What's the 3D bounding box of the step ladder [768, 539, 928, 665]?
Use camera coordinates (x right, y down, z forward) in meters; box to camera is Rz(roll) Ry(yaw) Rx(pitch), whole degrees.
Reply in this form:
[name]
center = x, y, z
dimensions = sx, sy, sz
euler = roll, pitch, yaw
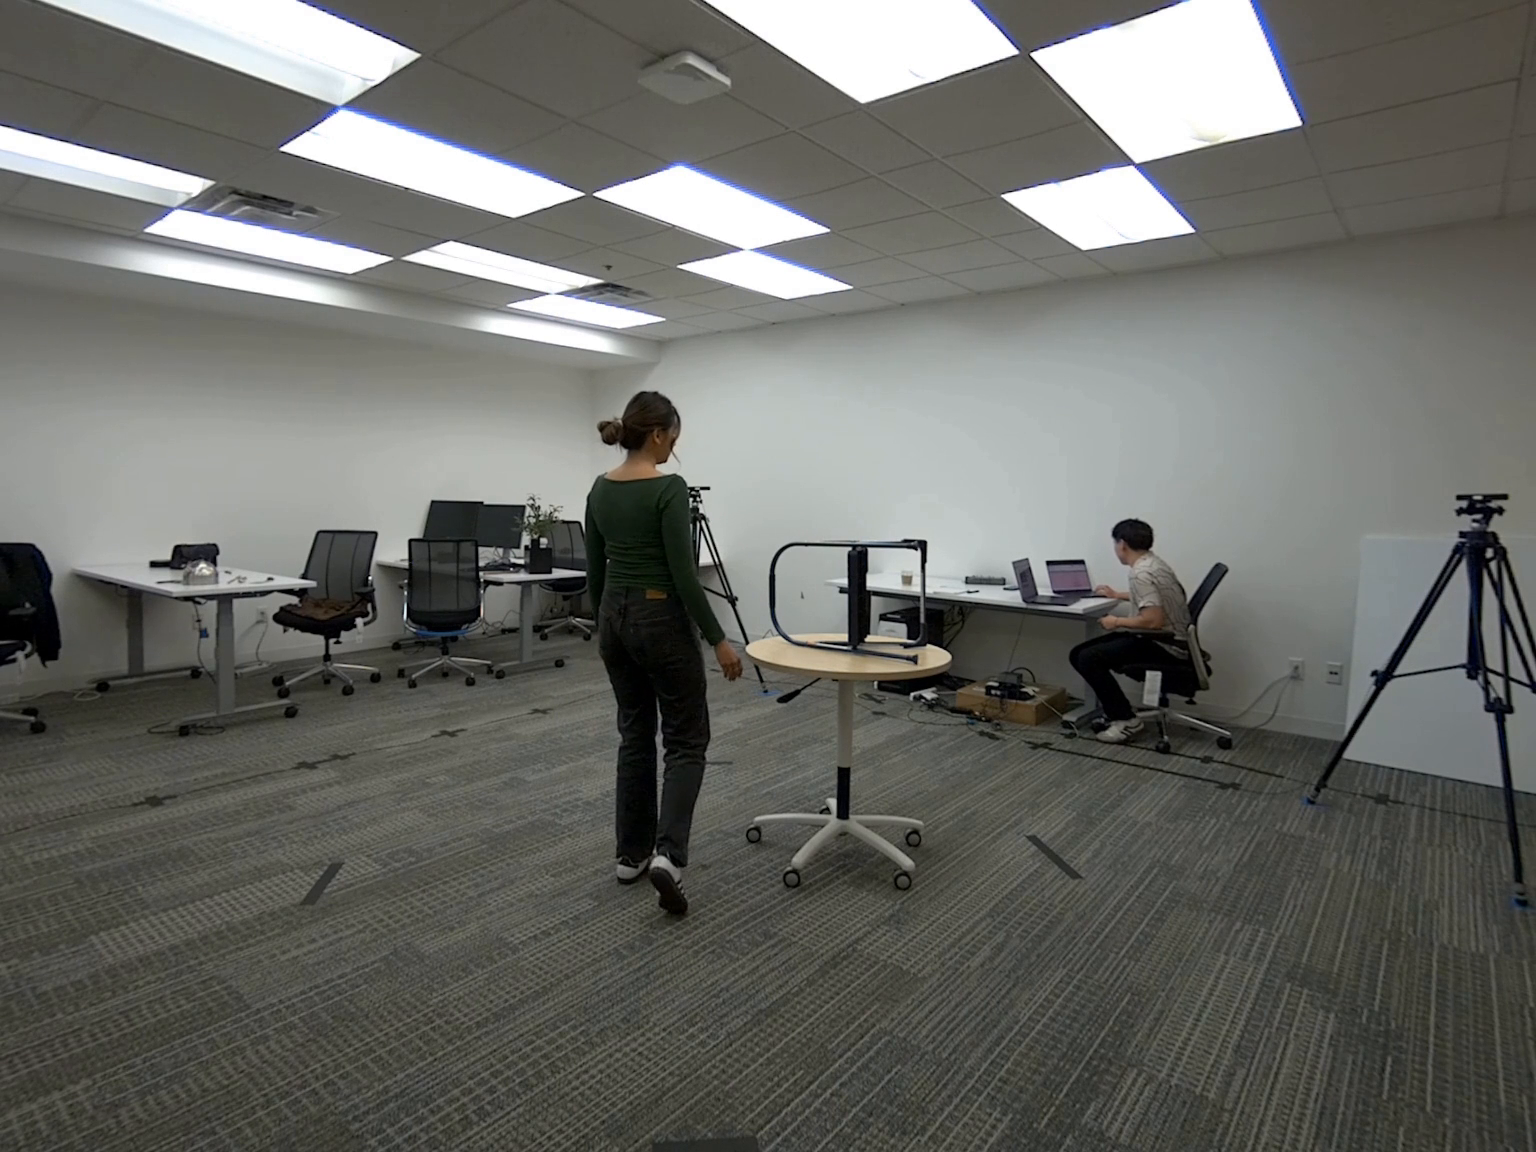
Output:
[step ladder]
center = 0.271, 0.071, 3.219
dimensions = 0.618, 0.430, 0.343
euler = 1, 2, 19
